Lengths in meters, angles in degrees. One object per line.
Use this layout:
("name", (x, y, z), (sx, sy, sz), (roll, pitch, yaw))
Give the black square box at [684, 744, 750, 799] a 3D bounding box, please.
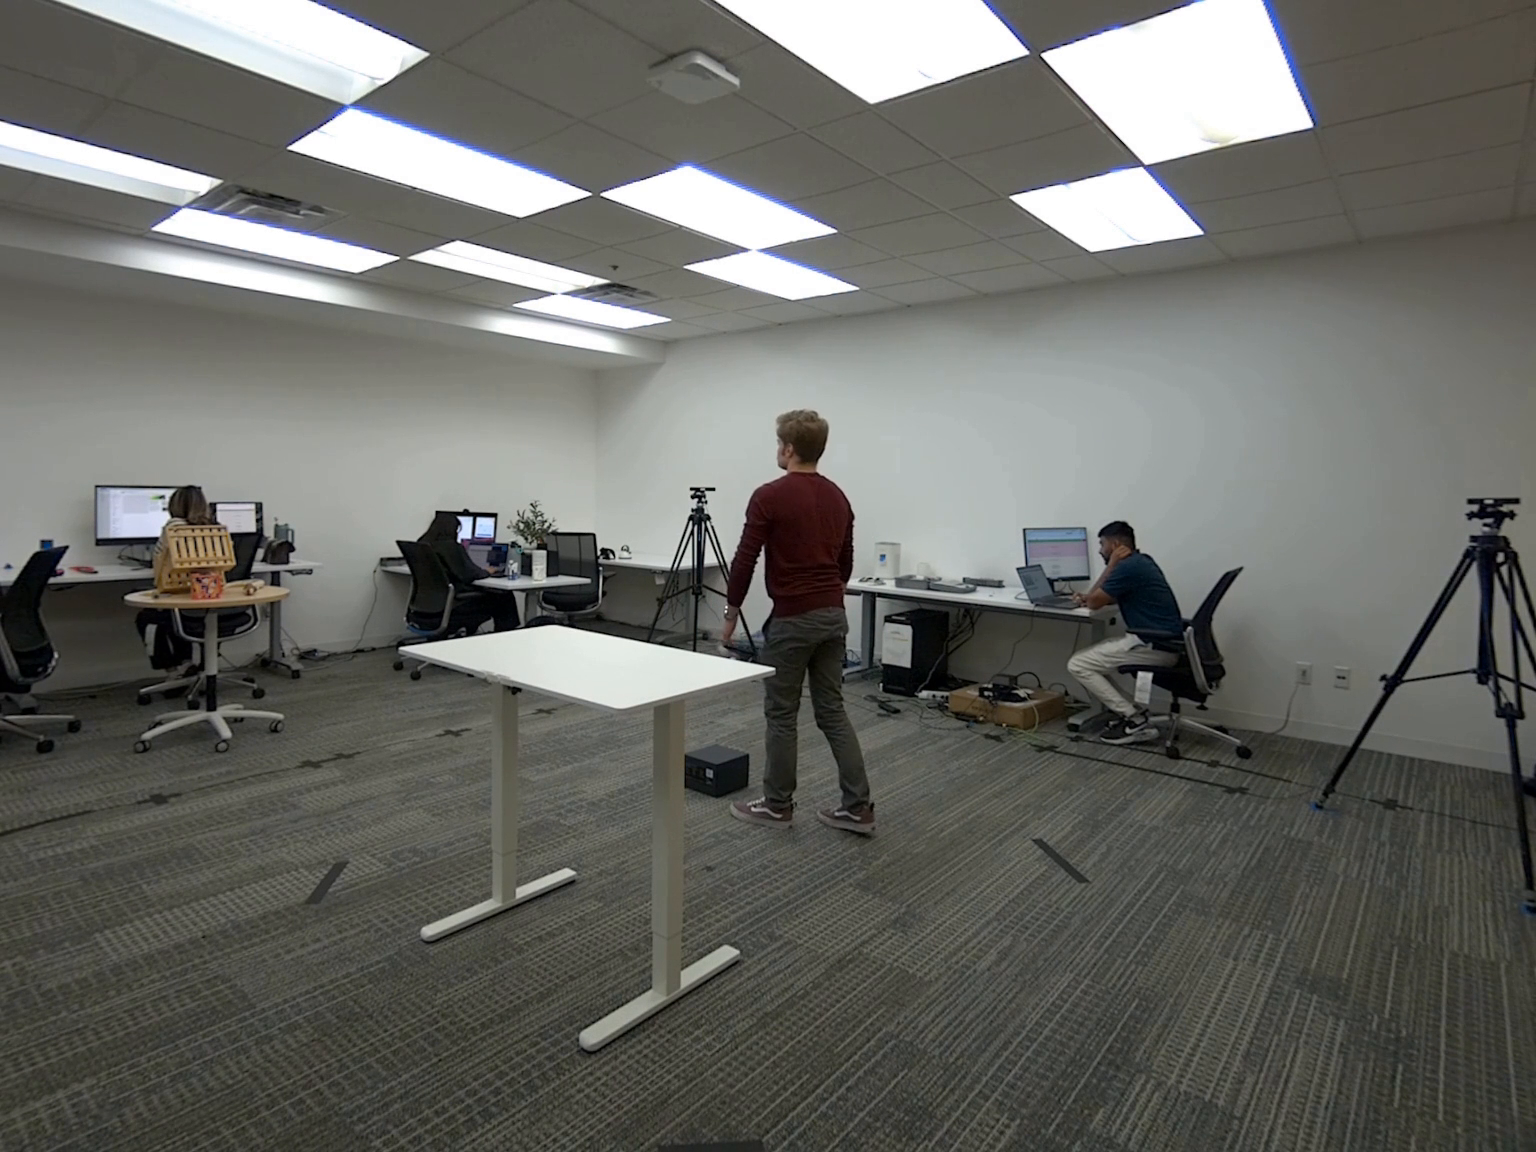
("black square box", (-0.253, 0.900, 3.971), (0.224, 0.155, 0.221), (5, 6, 40))
